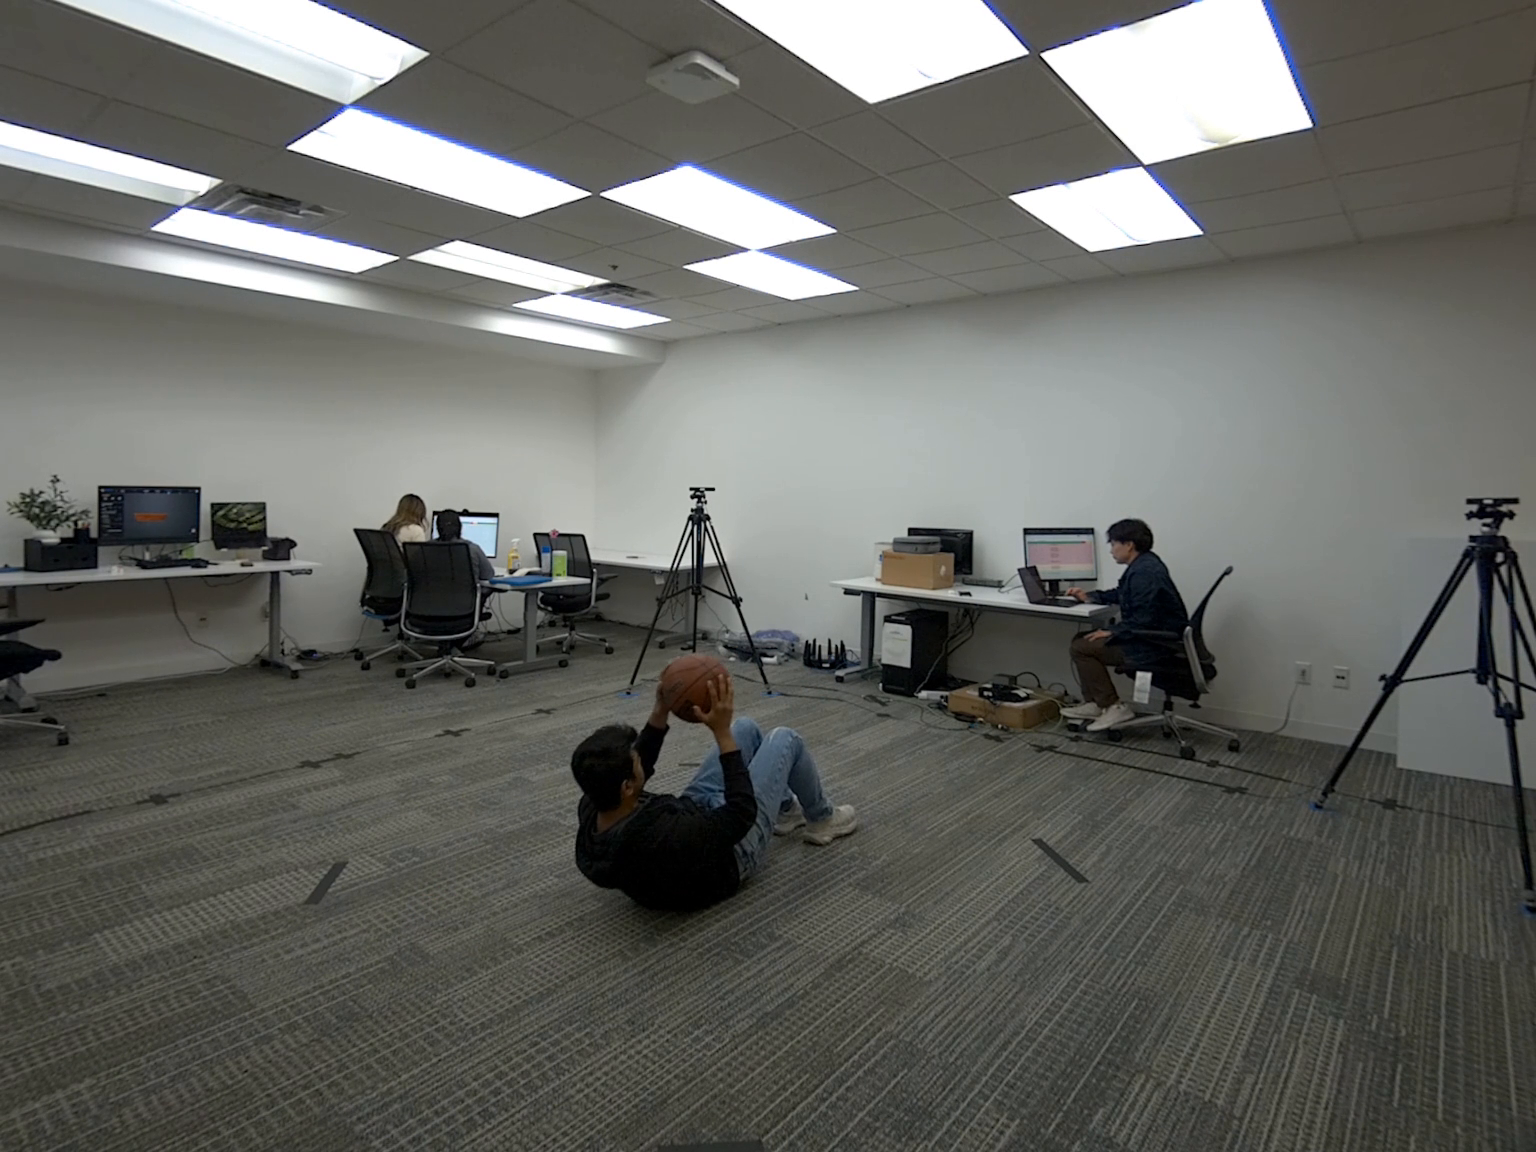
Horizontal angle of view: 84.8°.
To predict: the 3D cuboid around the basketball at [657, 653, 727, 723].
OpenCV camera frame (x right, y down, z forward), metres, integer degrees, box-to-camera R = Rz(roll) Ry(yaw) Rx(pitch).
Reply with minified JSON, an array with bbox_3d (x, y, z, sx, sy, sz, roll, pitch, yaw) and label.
[{"bbox_3d":[-0.253,0.393,2.928,0.235,0.235,0.237,1,4,-2],"label":"basketball"}]
